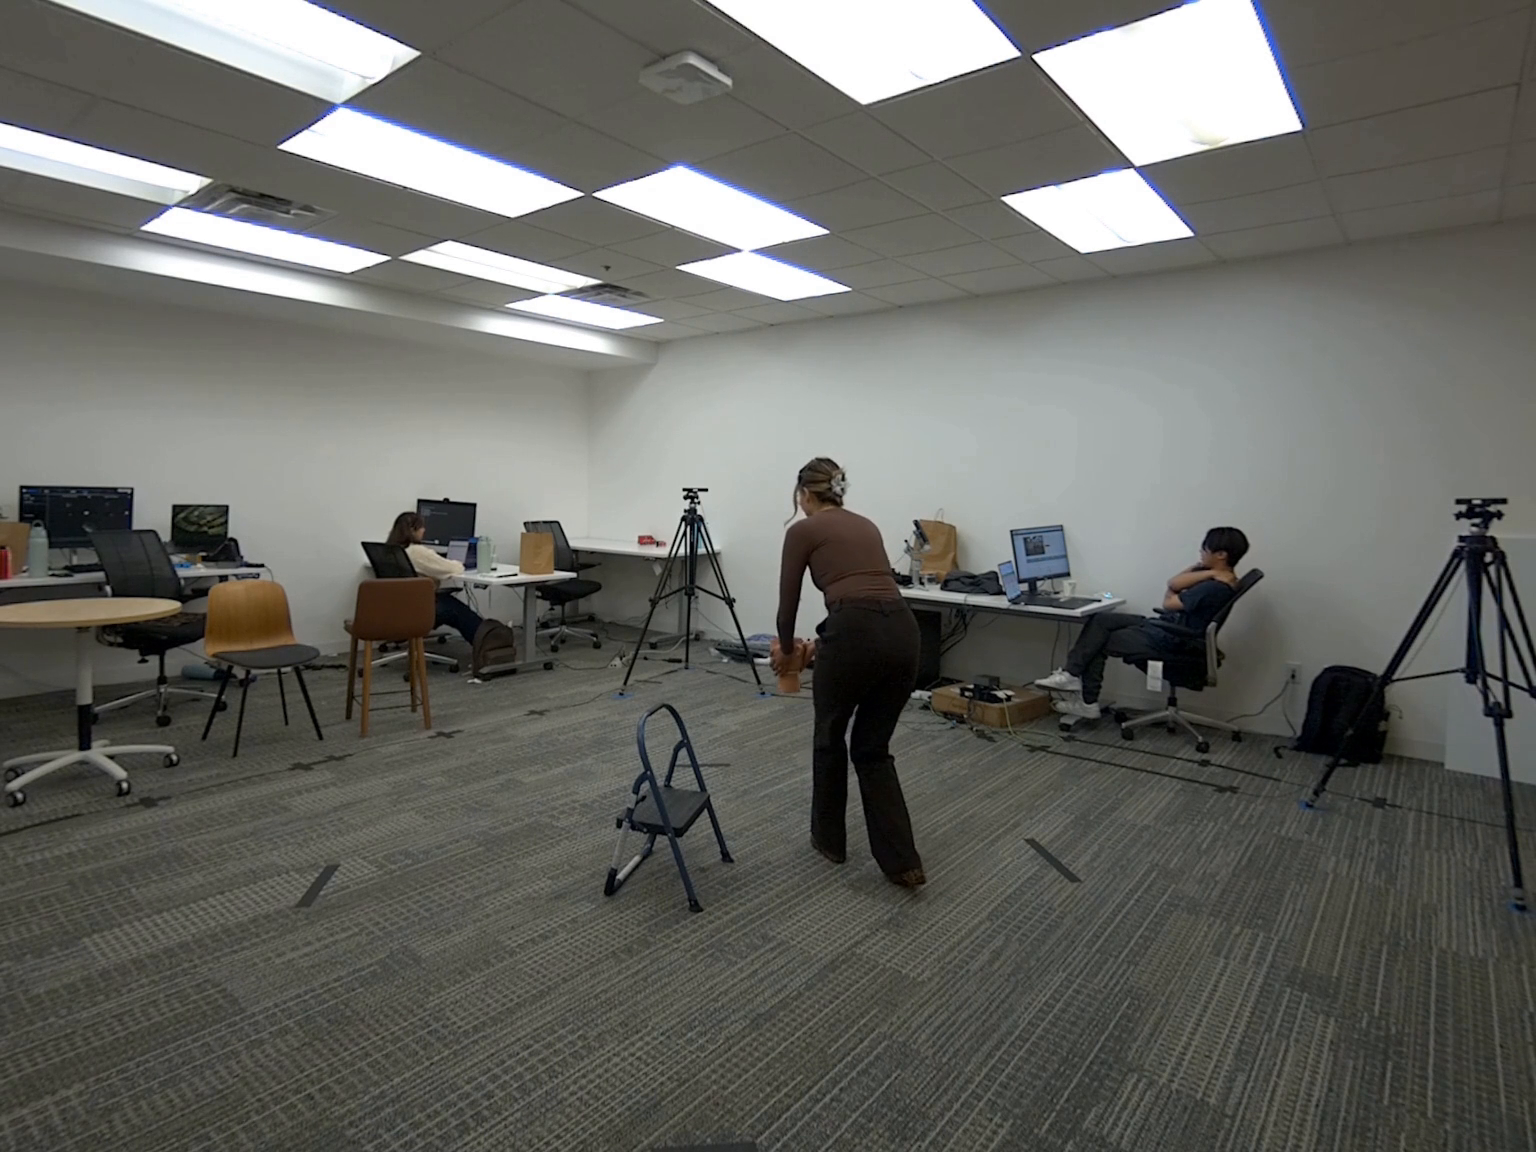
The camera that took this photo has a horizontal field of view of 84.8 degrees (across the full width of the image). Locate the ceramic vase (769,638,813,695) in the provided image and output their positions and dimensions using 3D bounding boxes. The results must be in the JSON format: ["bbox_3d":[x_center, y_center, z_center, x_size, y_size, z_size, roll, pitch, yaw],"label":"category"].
[{"bbox_3d":[0.079,0.367,3.515,0.136,0.220,0.157,1,-1,6],"label":"ceramic vase"}]
